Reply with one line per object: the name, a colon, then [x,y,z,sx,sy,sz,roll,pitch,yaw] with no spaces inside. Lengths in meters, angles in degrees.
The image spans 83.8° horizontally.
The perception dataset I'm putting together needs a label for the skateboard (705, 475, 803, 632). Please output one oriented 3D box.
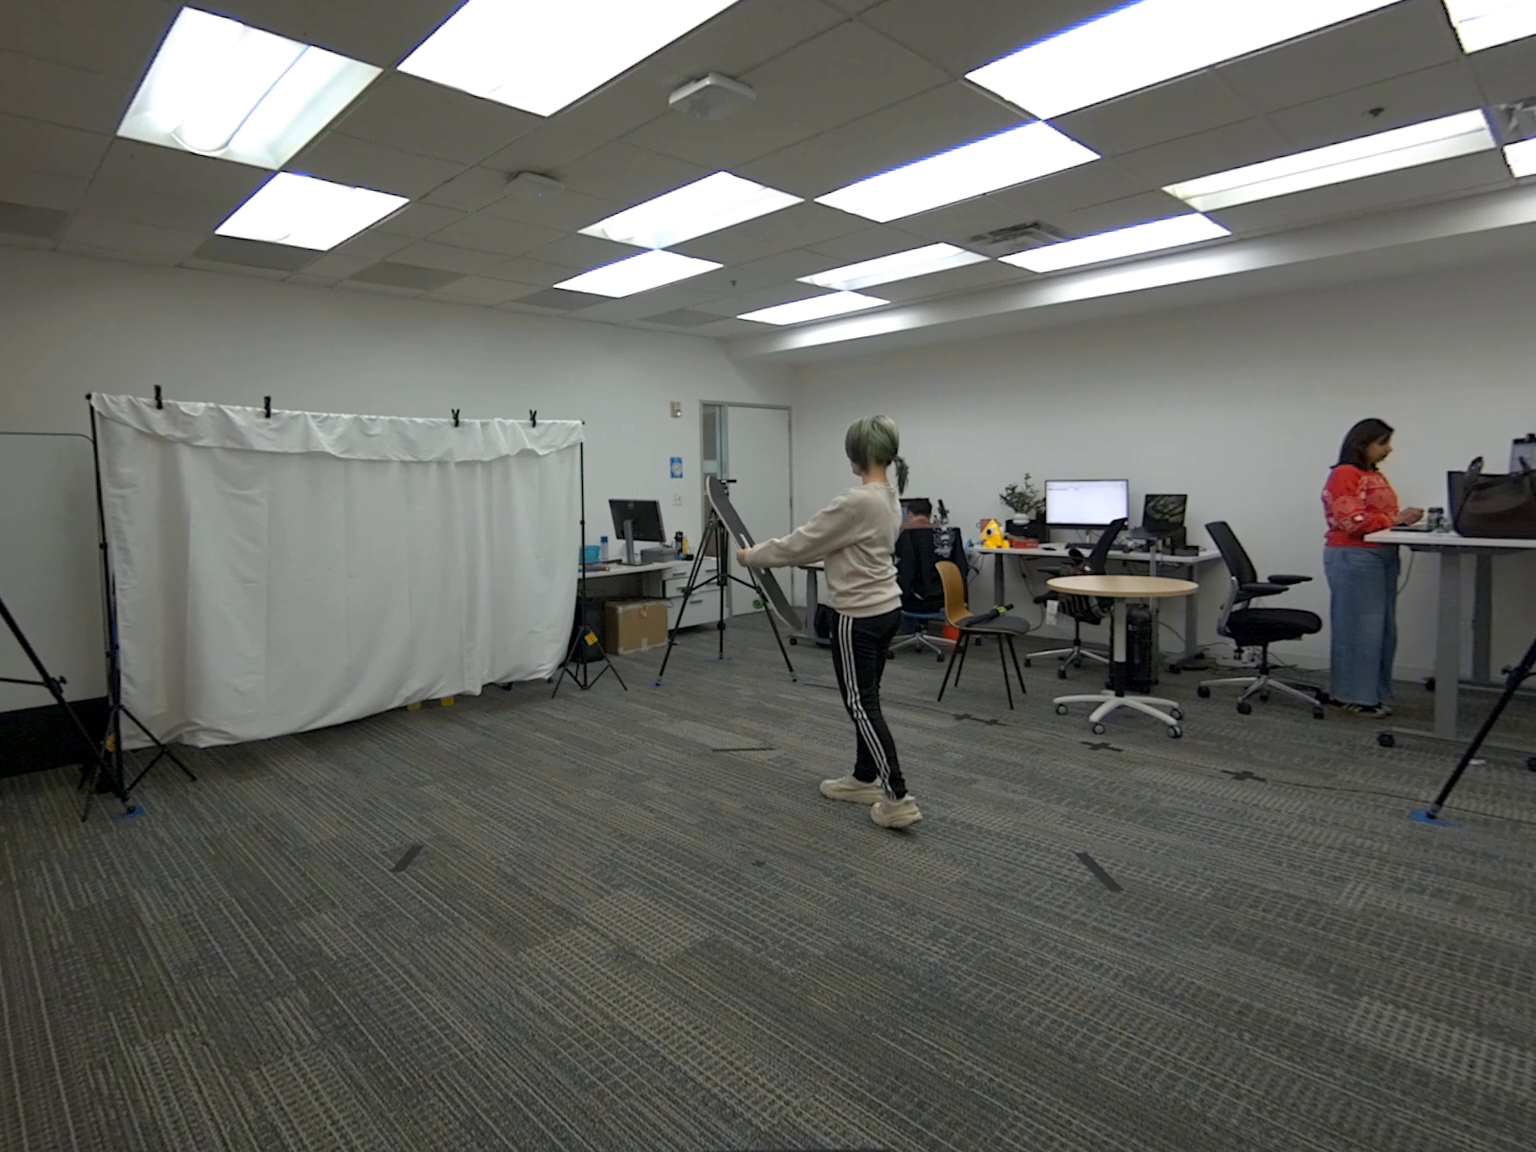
skateboard: [-0.094,-0.085,3.800,0.111,0.788,0.191,-31,-3,22]
